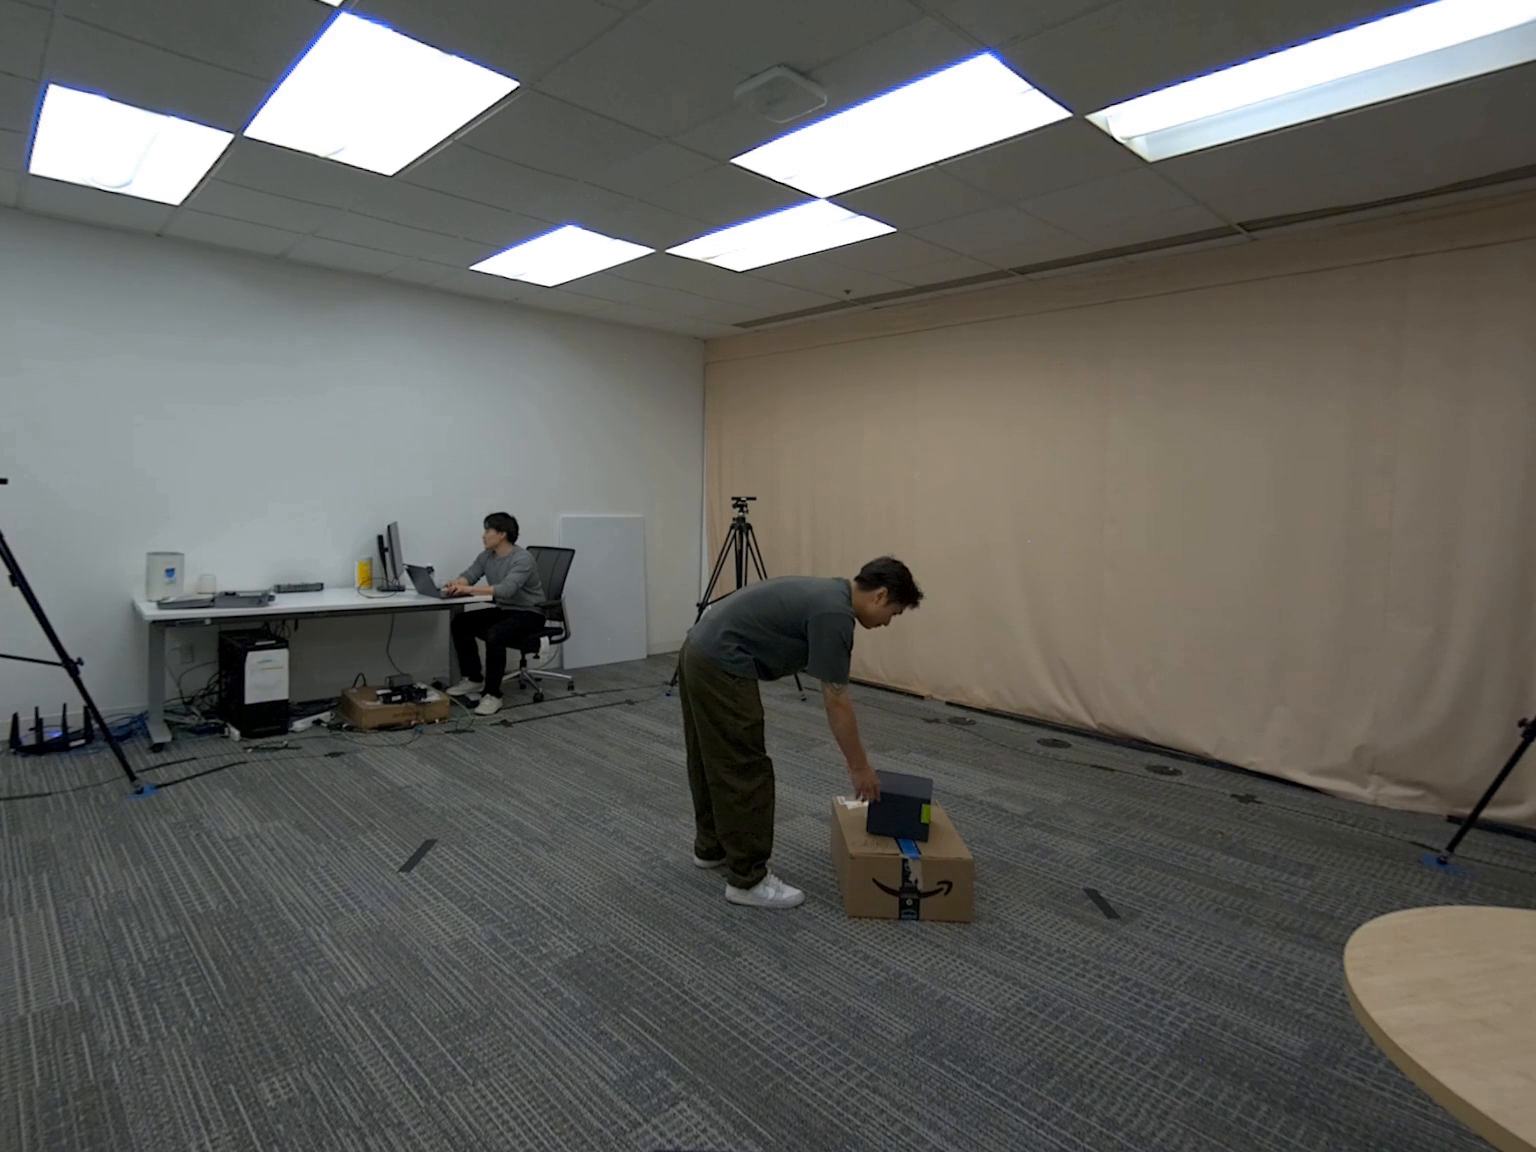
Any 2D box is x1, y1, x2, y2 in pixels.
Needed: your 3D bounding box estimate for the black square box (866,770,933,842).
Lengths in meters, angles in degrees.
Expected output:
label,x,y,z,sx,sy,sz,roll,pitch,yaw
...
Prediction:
label,x,y,z,sx,sy,sz,roll,pitch,yaw
black square box,0.470,0.826,3.050,0.219,0.155,0.226,5,5,13
